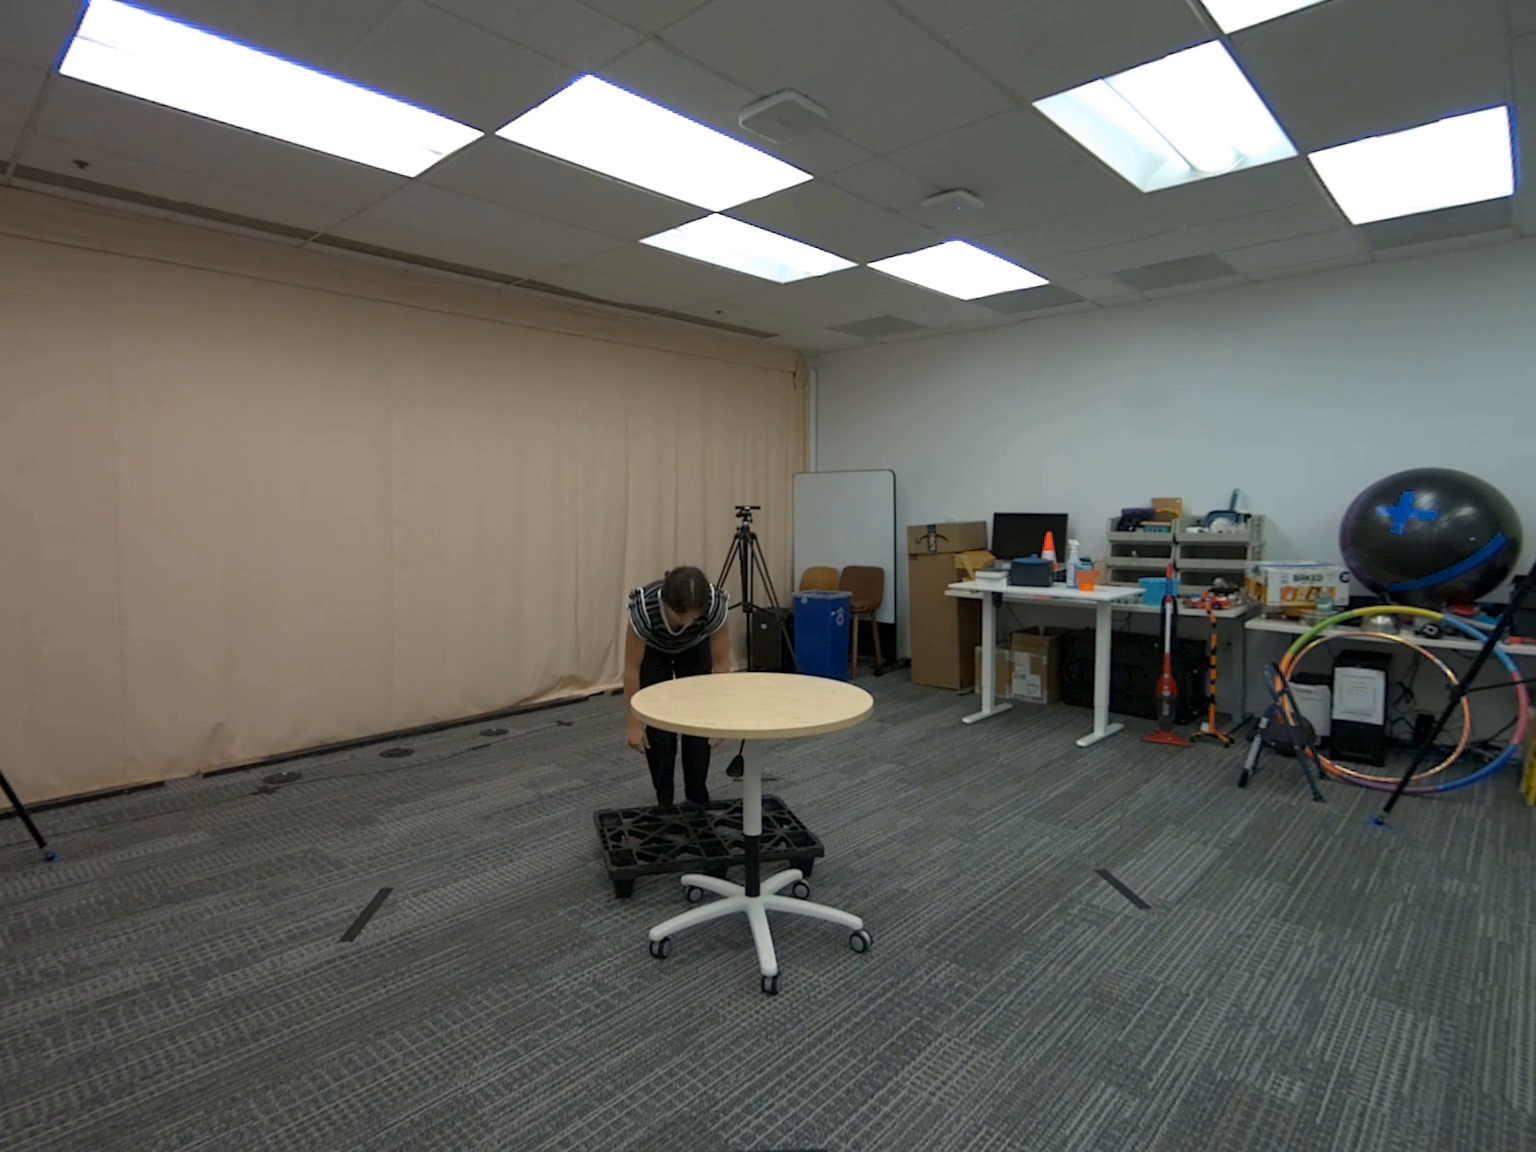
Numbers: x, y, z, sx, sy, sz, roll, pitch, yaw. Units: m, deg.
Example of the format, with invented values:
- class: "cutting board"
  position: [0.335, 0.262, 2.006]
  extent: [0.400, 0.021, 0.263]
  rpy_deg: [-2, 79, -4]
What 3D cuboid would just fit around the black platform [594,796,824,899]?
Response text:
- class: "black platform"
  position: [-0.247, 1.052, 3.291]
  extent: [0.794, 0.143, 0.616]
  rpy_deg: [-2, 6, -15]
